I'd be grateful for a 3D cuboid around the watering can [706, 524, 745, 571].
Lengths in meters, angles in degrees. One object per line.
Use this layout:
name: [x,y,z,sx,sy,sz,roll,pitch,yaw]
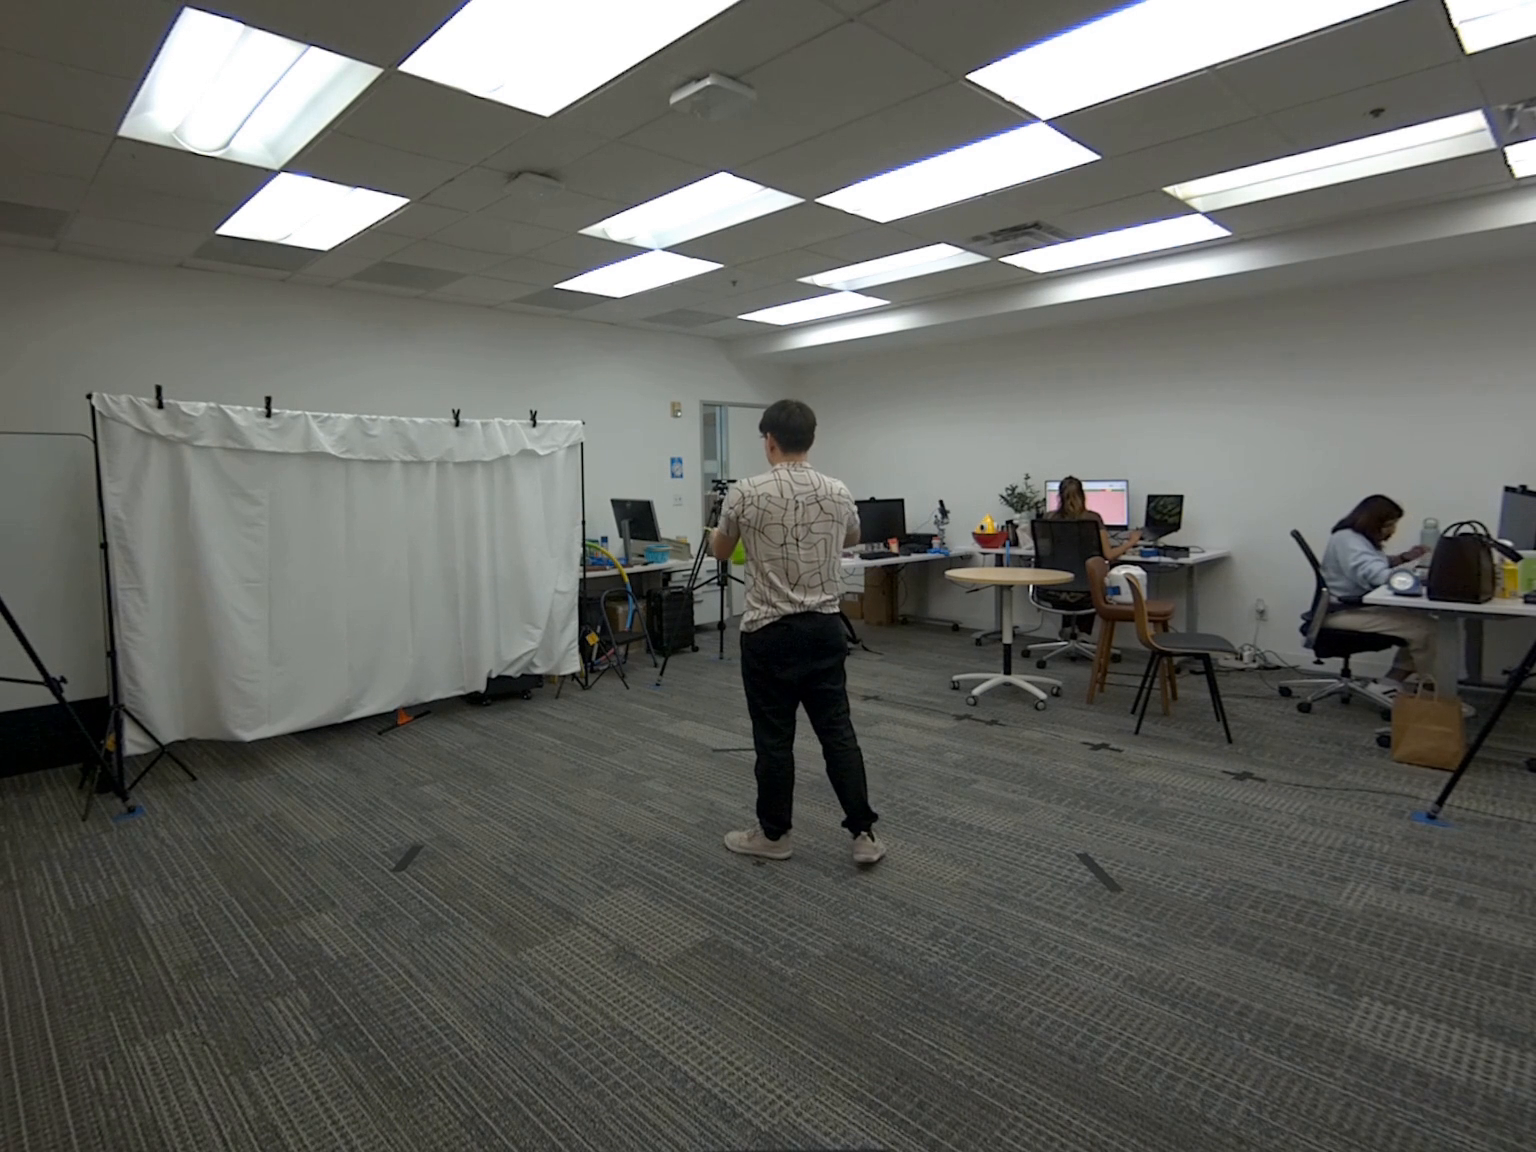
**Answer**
watering can: [-0.114,-0.134,3.518,0.284,0.179,0.095,-10,-14,36]
